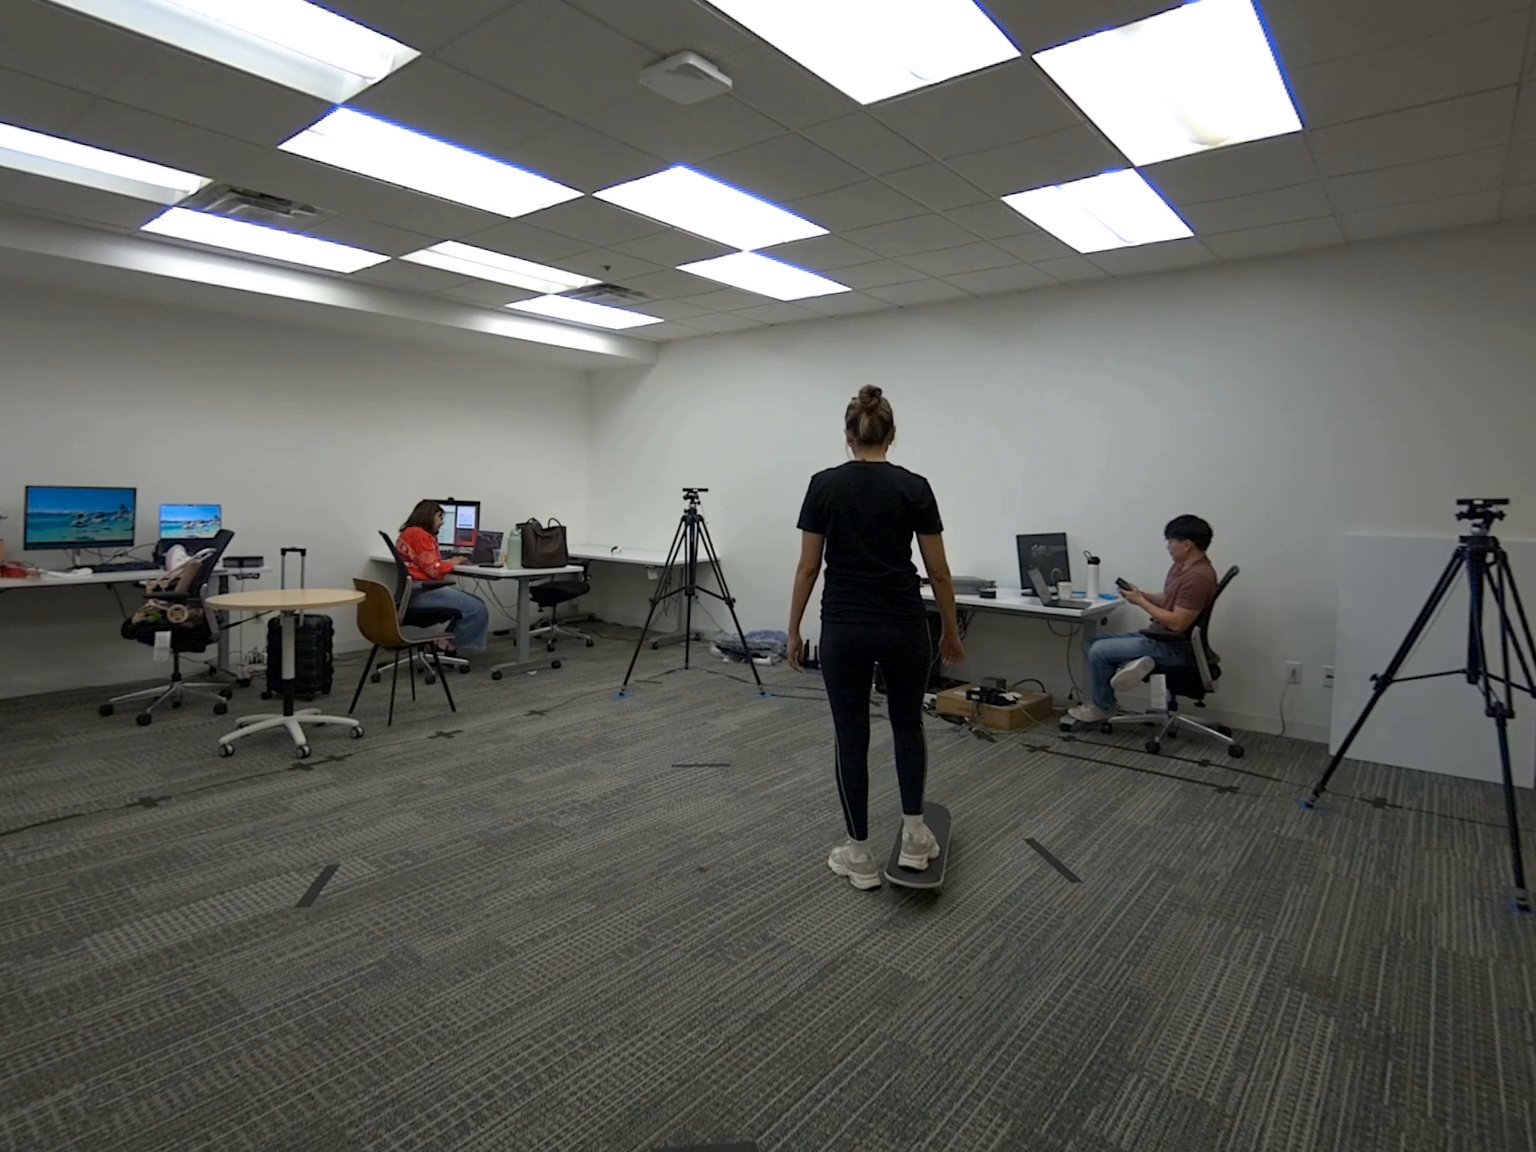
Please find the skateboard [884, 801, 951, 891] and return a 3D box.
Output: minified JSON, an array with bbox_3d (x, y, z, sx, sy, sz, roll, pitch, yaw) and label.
[{"bbox_3d":[0.569,1.026,3.184,0.197,0.110,0.775,2,6,15],"label":"skateboard"}]
